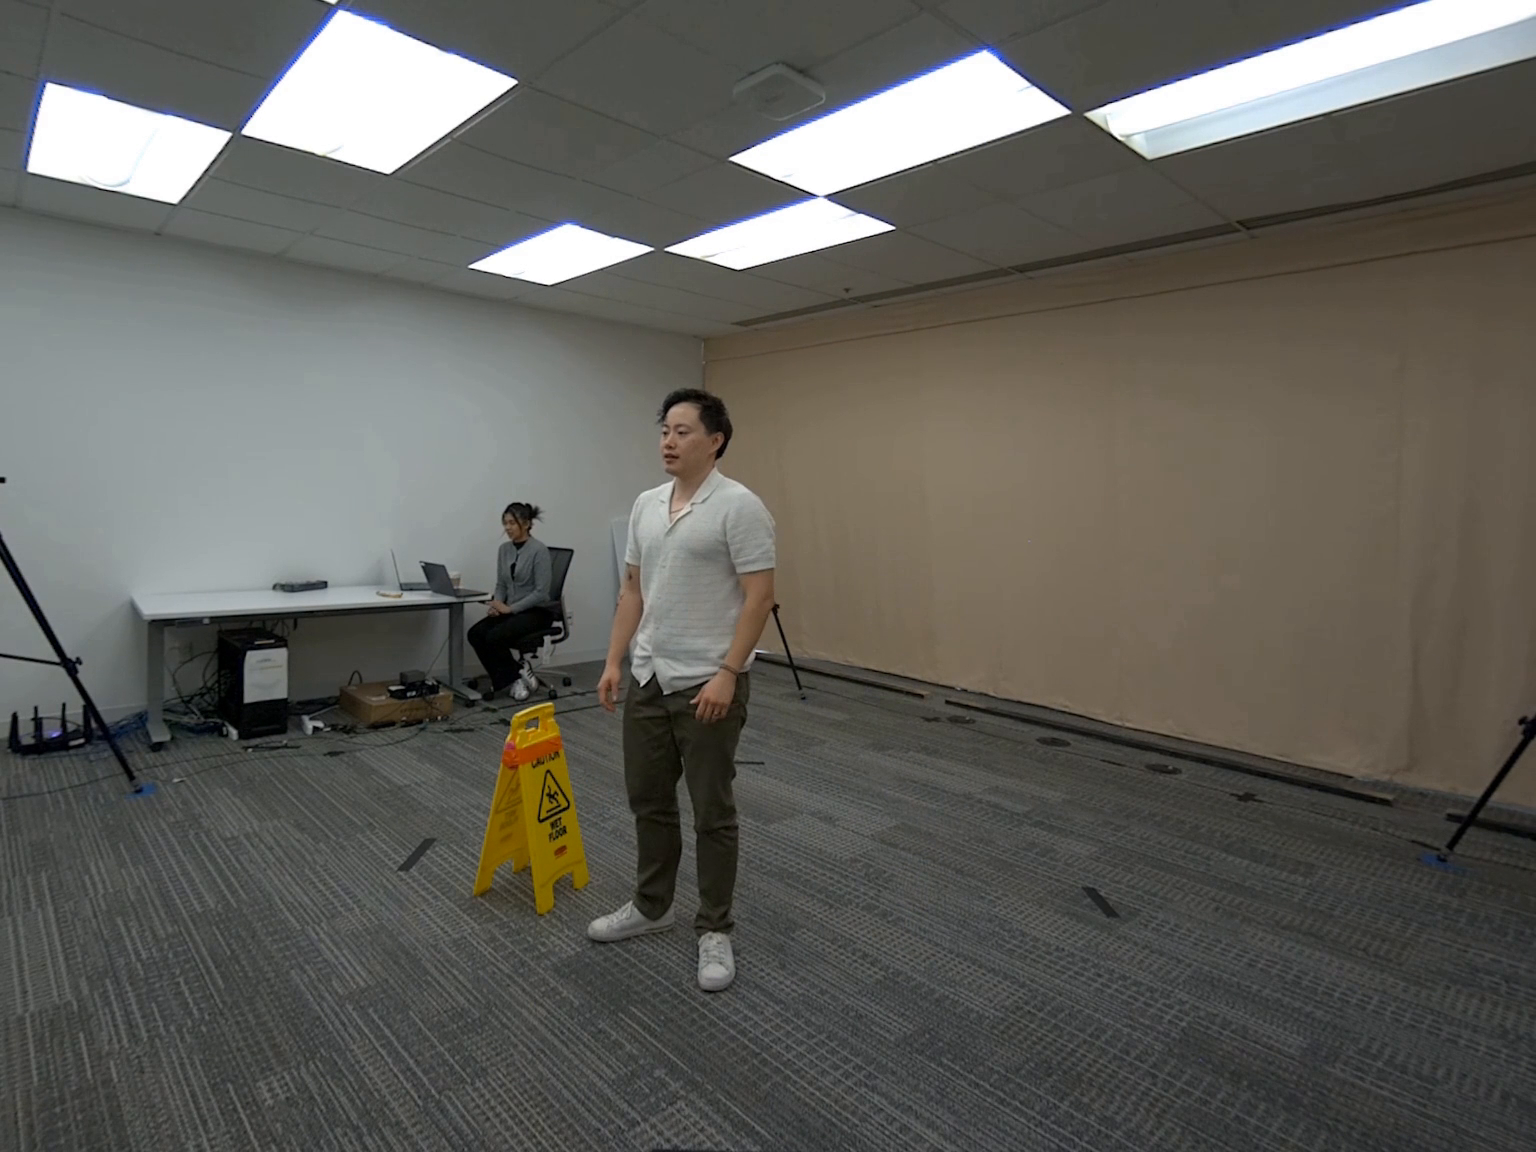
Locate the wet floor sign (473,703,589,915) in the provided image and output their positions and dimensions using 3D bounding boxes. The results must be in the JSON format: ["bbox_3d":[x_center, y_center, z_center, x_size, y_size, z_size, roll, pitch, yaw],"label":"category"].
[{"bbox_3d":[-0.826,0.783,2.933,0.295,0.644,0.278,4,5,25],"label":"wet floor sign"}]
